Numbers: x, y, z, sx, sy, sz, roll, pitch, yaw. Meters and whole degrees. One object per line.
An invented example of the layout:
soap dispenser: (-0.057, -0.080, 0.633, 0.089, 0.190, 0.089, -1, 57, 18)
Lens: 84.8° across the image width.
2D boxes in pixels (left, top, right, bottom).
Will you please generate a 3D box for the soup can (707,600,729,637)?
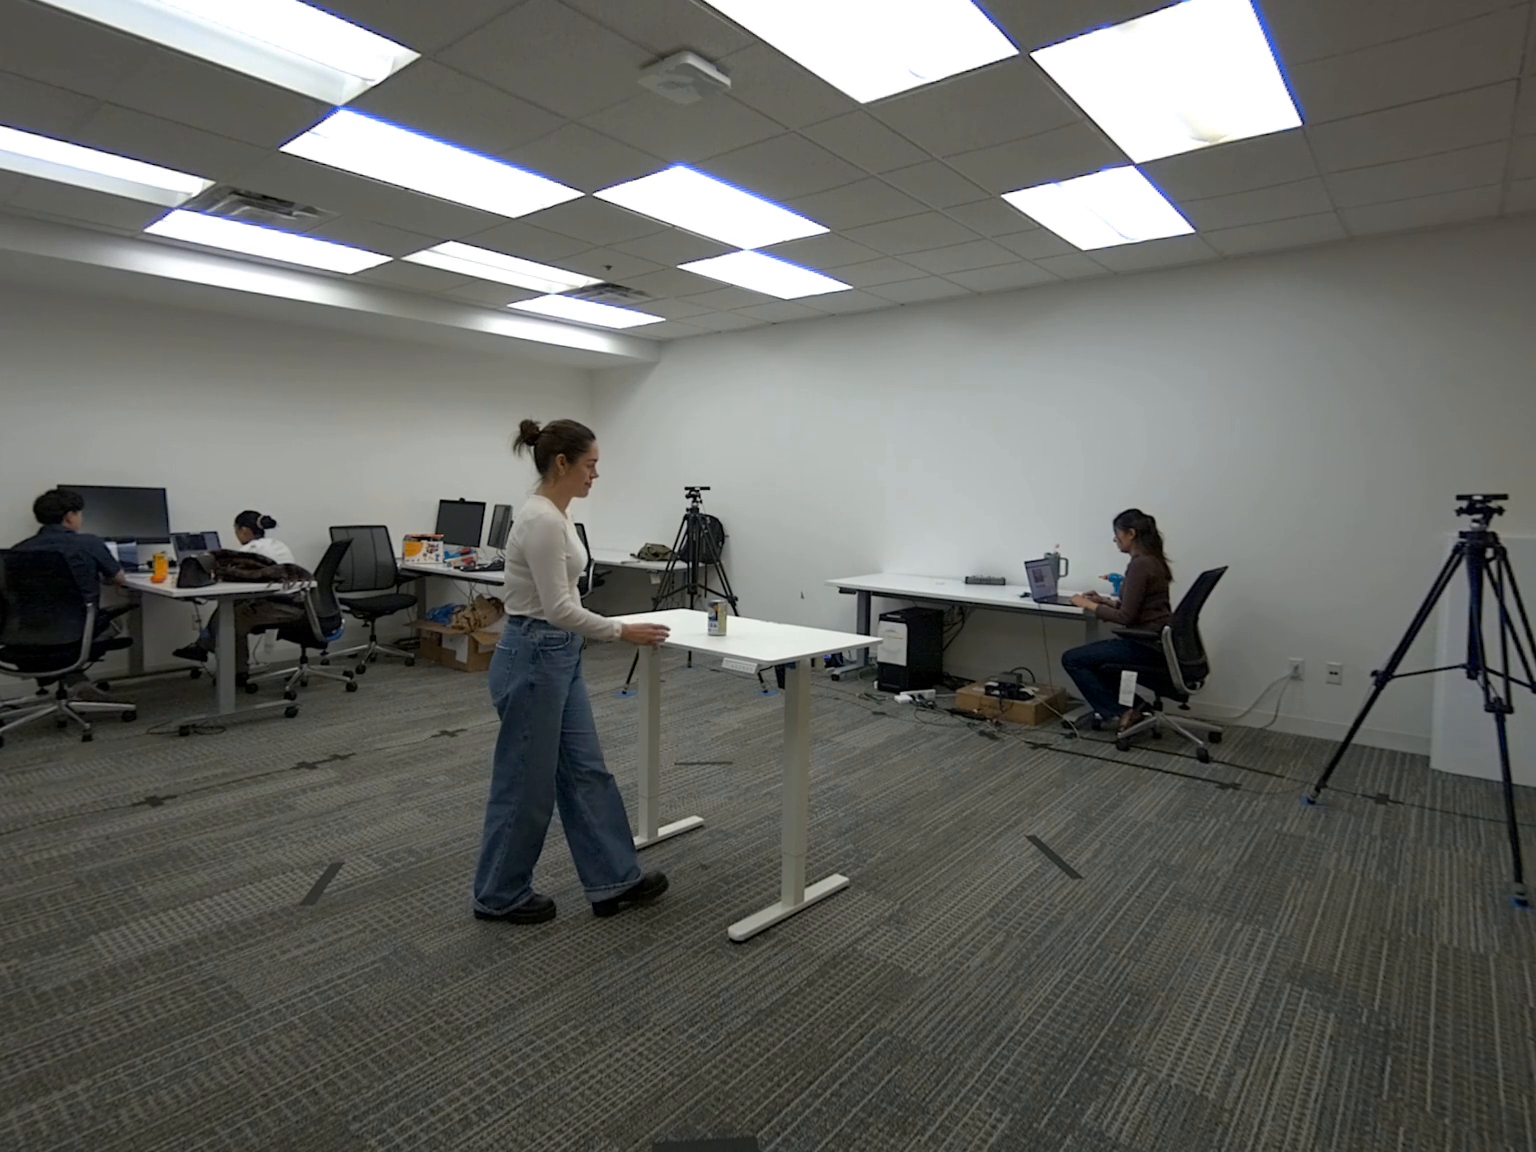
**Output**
soup can: (-0.189, 0.145, 2.919, 0.067, 0.121, 0.067, -1, 4, -2)
